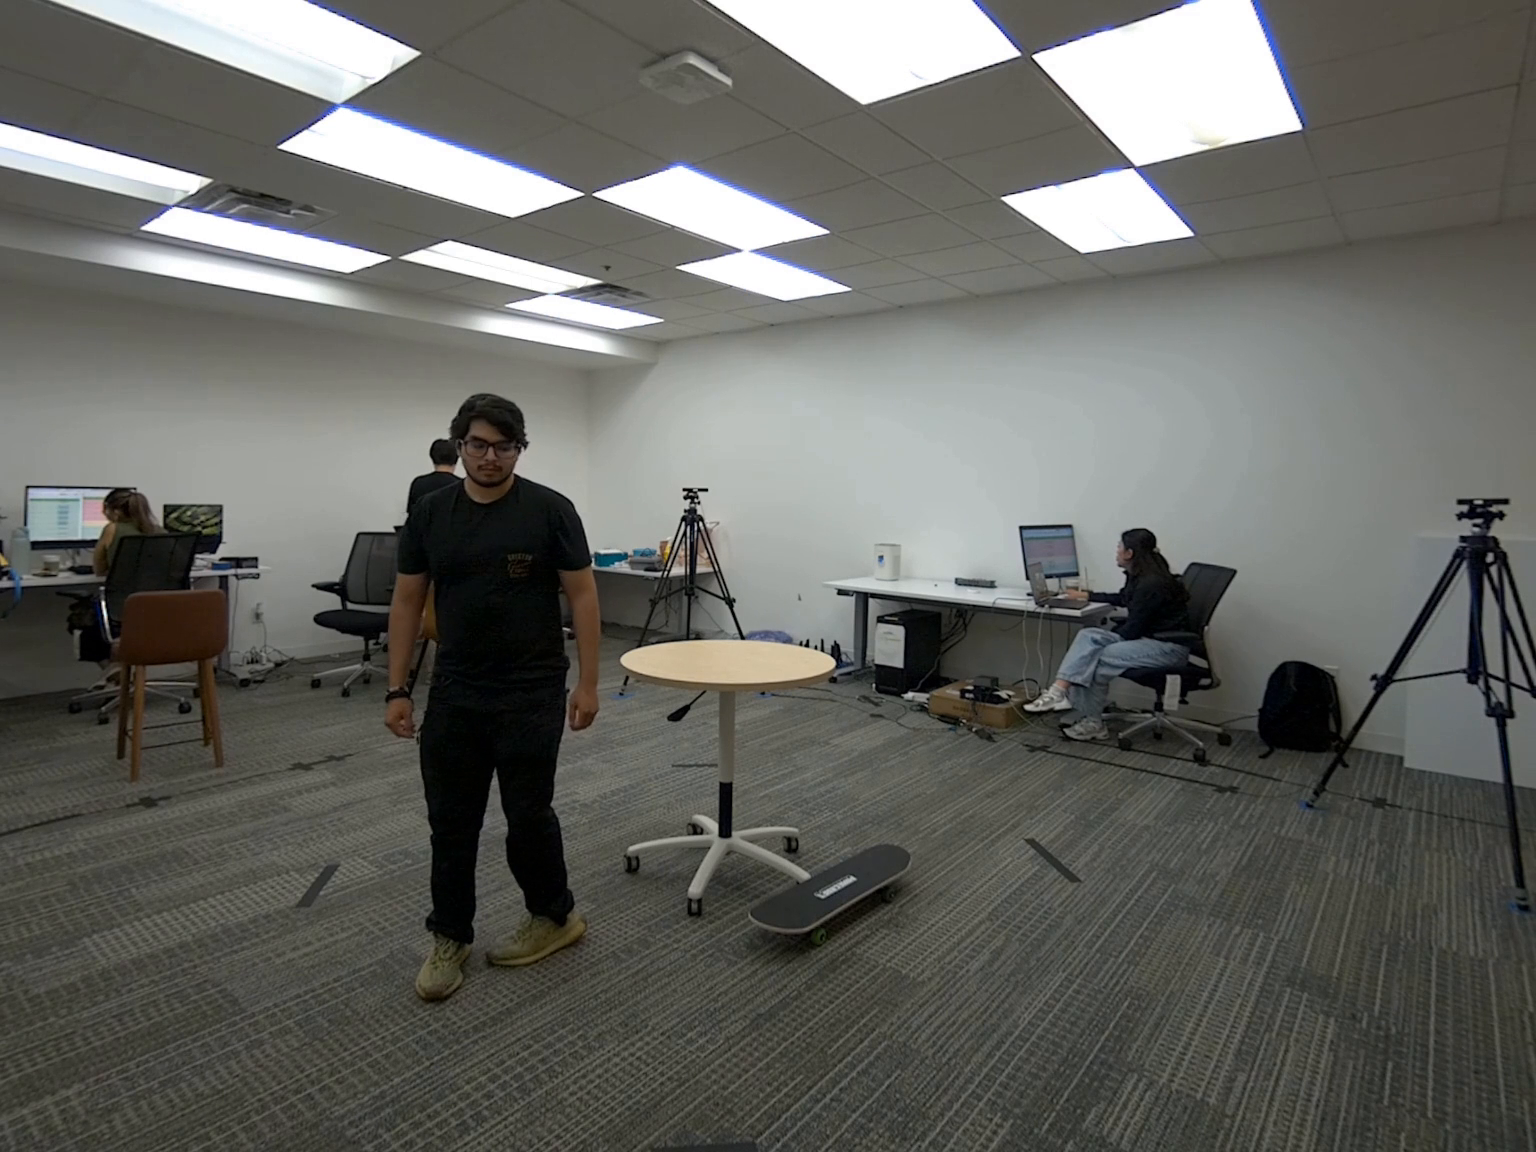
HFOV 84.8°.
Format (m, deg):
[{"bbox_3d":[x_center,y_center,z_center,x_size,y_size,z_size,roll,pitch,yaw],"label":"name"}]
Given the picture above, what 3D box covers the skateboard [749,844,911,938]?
[{"bbox_3d":[0.220,1.053,2.803,0.200,0.110,0.762,6,8,41],"label":"skateboard"}]
